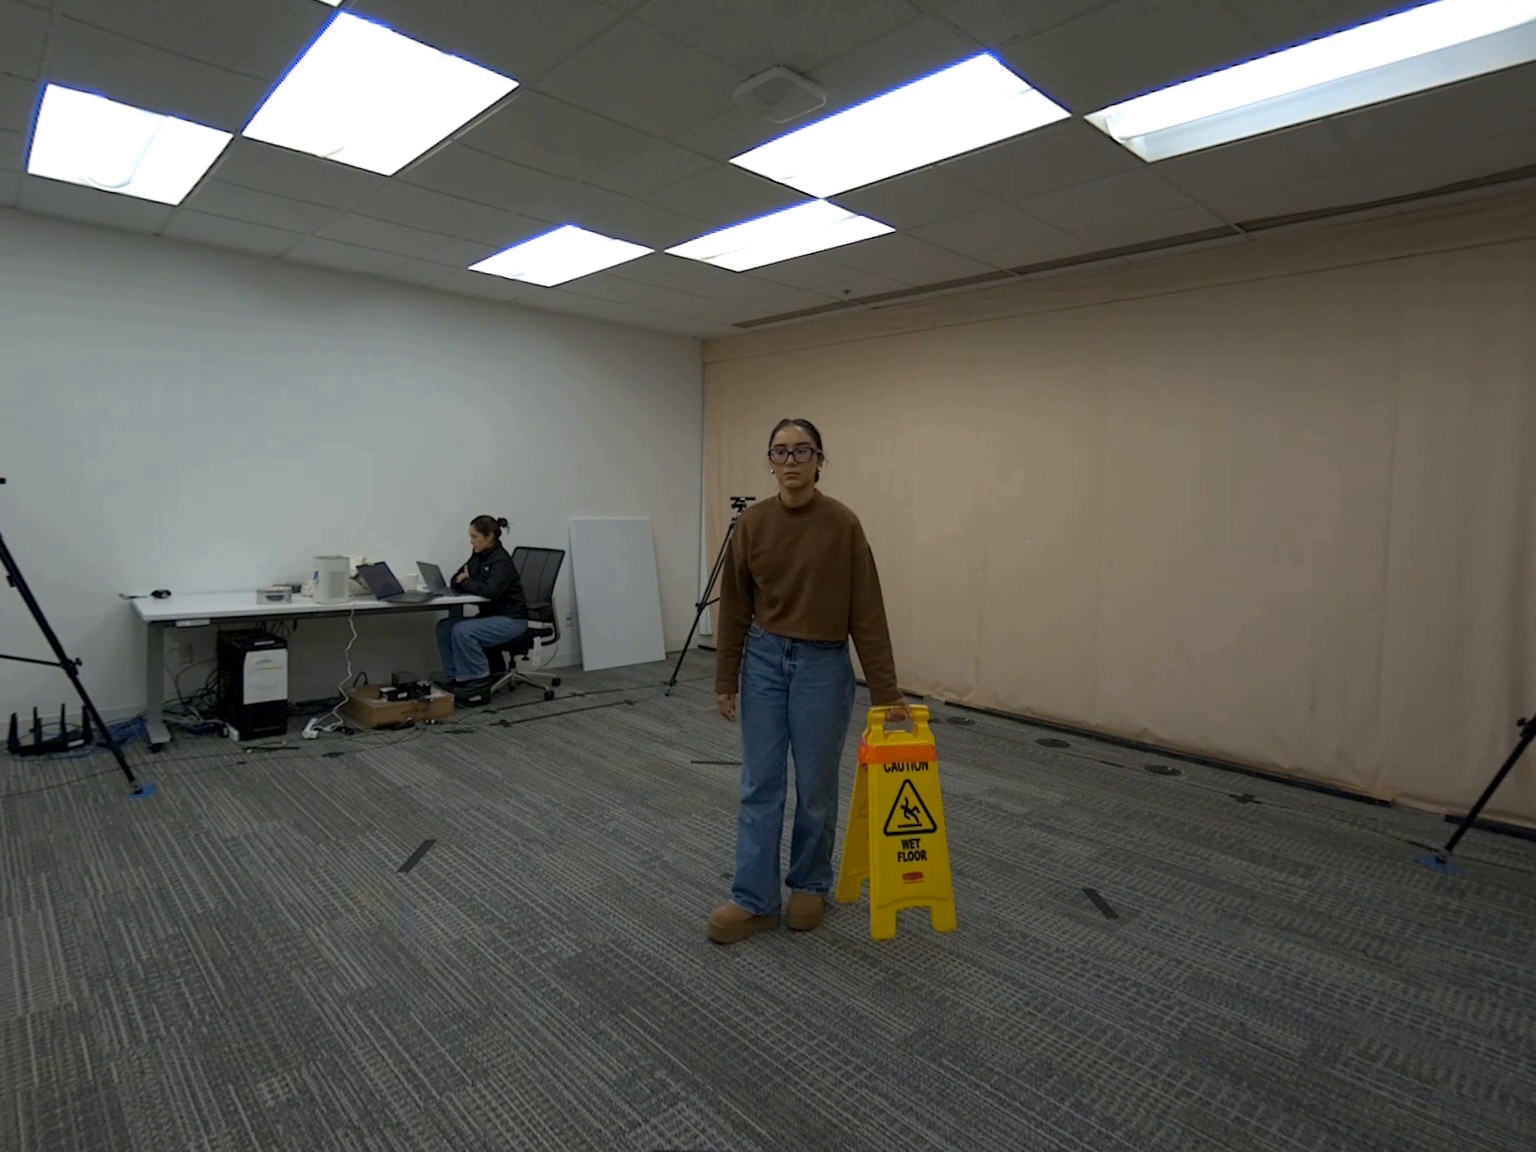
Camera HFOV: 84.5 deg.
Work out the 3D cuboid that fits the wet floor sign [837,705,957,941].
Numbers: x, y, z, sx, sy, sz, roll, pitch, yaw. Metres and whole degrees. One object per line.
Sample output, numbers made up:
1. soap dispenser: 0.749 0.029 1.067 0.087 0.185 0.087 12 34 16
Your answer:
1. wet floor sign: 0.388 0.726 2.602 0.278 0.646 0.293 3 0 -16
